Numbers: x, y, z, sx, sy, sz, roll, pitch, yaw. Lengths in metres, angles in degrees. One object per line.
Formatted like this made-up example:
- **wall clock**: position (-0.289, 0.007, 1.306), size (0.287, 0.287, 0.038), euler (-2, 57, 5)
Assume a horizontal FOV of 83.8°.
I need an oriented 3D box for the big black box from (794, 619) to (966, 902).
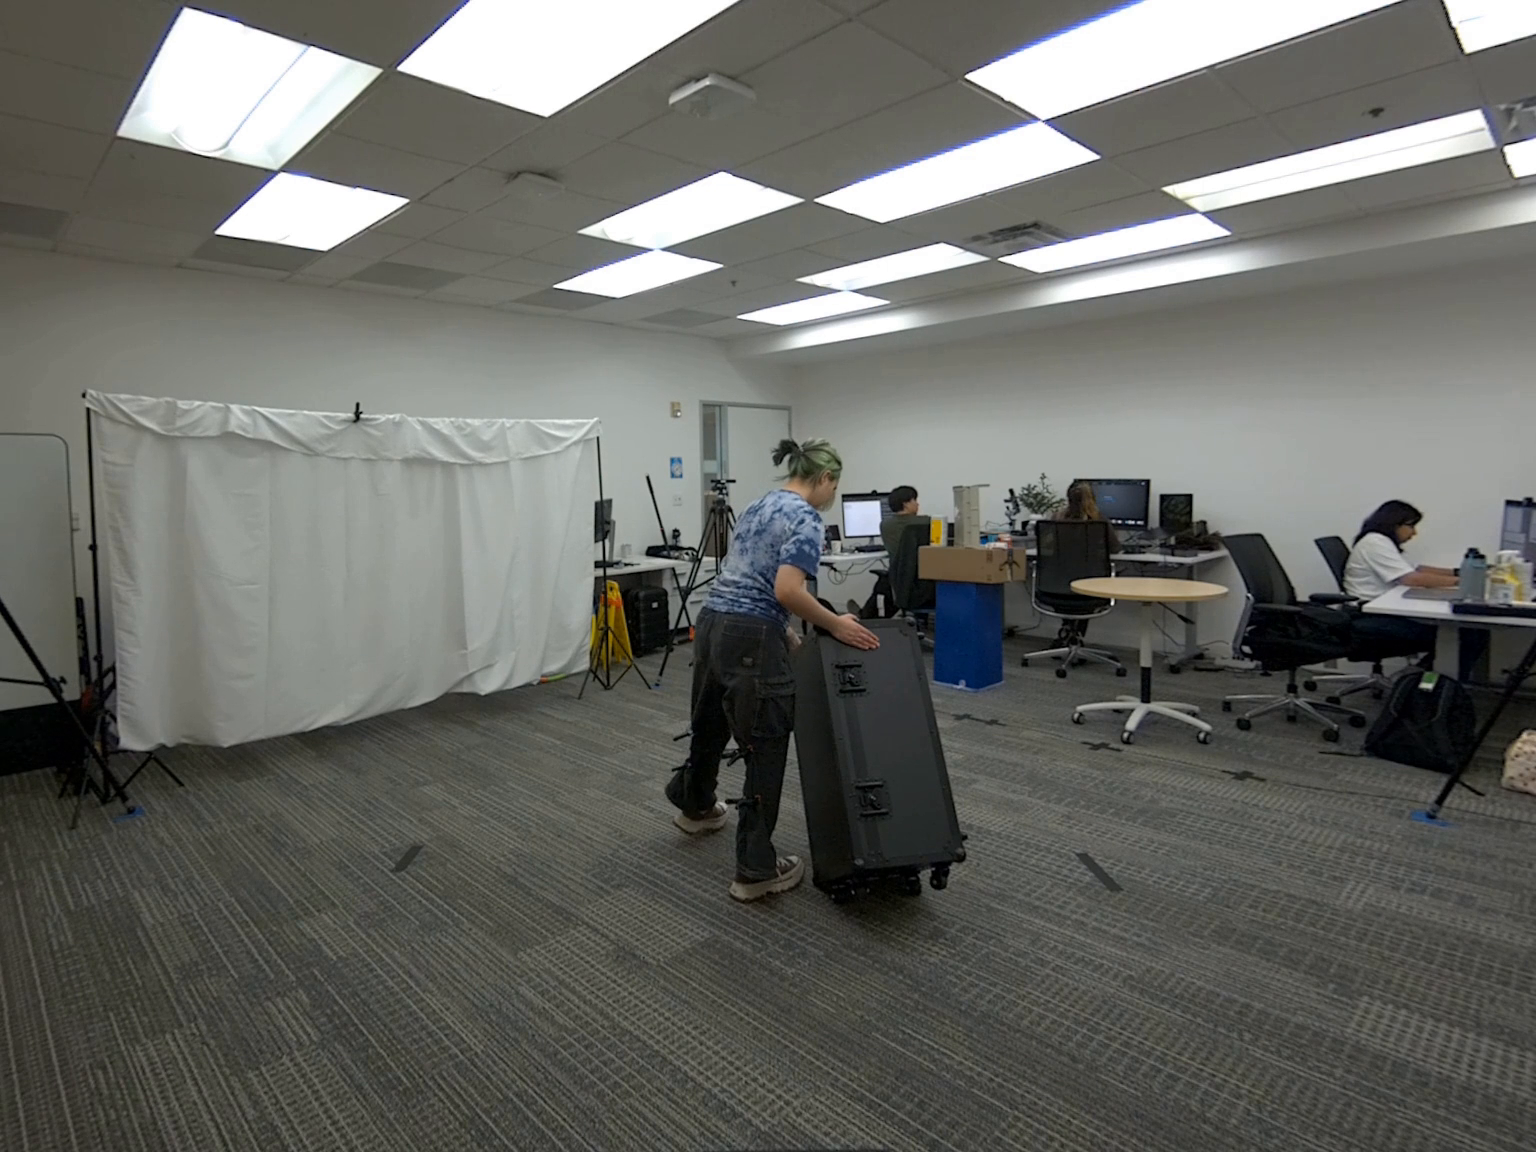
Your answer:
- **big black box**: position (0.347, 0.631, 2.919), size (0.392, 0.882, 0.514), euler (-1, -26, -12)
